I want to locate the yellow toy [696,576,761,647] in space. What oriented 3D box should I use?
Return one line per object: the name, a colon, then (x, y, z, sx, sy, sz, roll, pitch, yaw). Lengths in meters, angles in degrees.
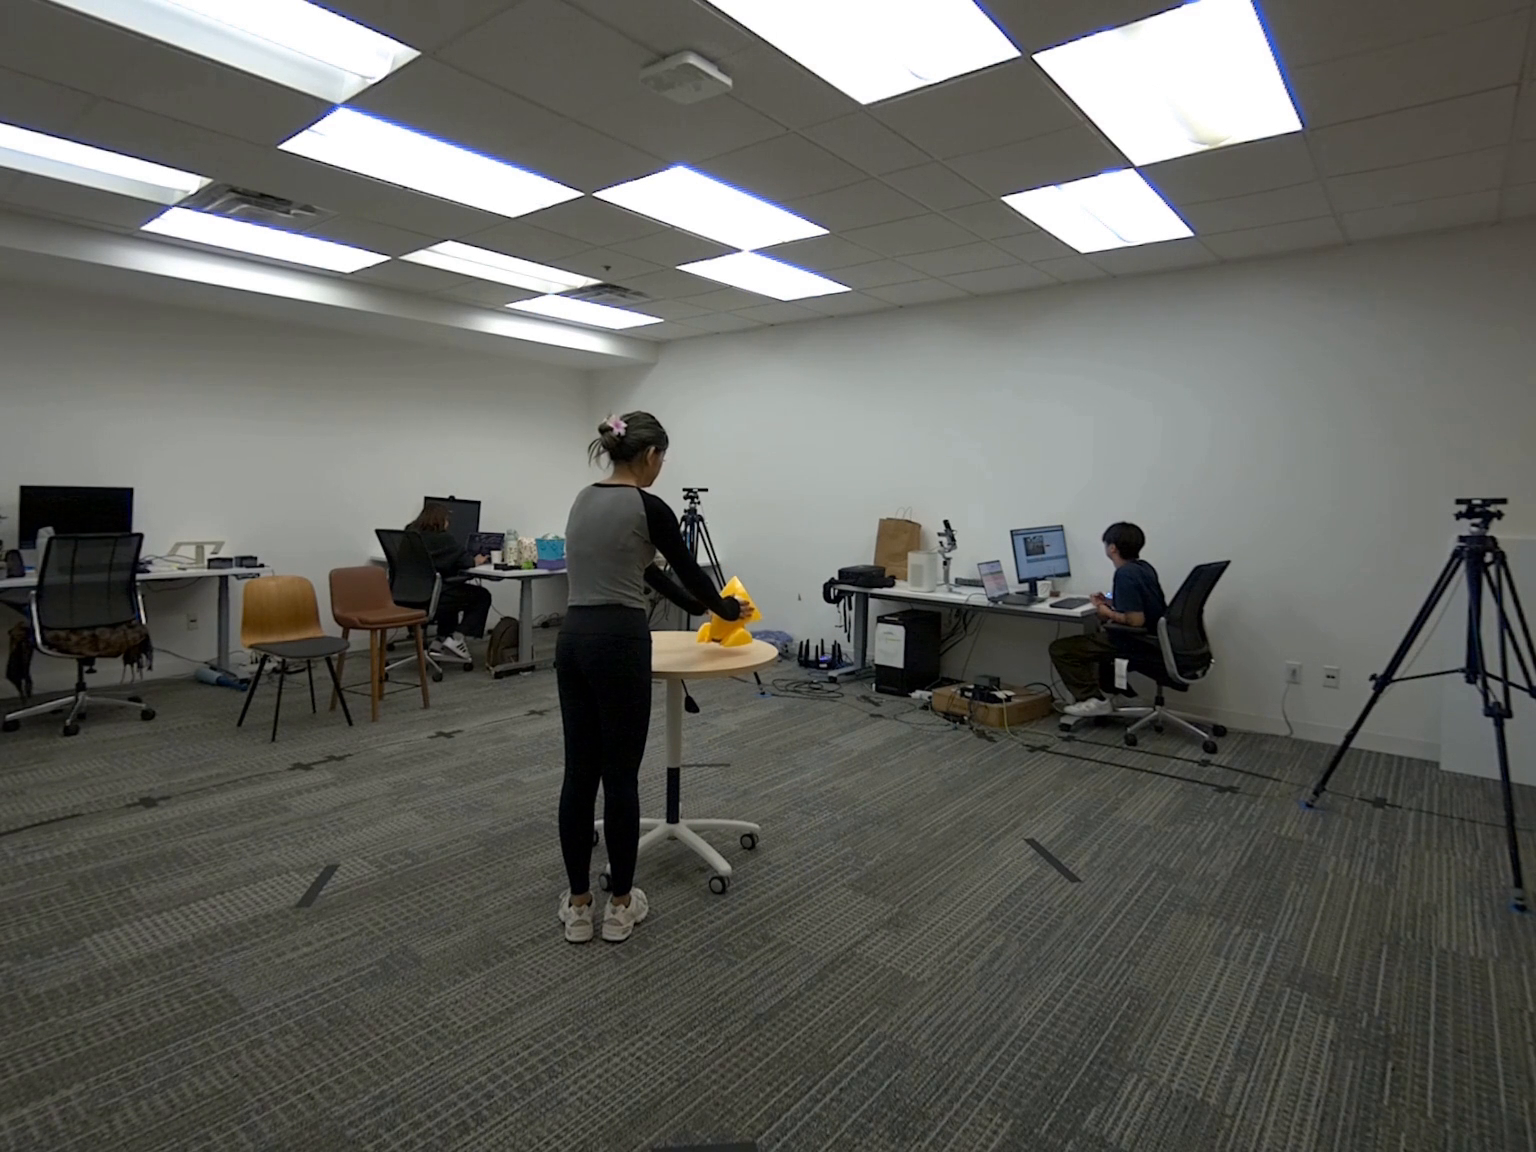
yellow toy: (-0.172, 0.118, 3.100, 0.212, 0.229, 0.188, 6, 10, 38)
